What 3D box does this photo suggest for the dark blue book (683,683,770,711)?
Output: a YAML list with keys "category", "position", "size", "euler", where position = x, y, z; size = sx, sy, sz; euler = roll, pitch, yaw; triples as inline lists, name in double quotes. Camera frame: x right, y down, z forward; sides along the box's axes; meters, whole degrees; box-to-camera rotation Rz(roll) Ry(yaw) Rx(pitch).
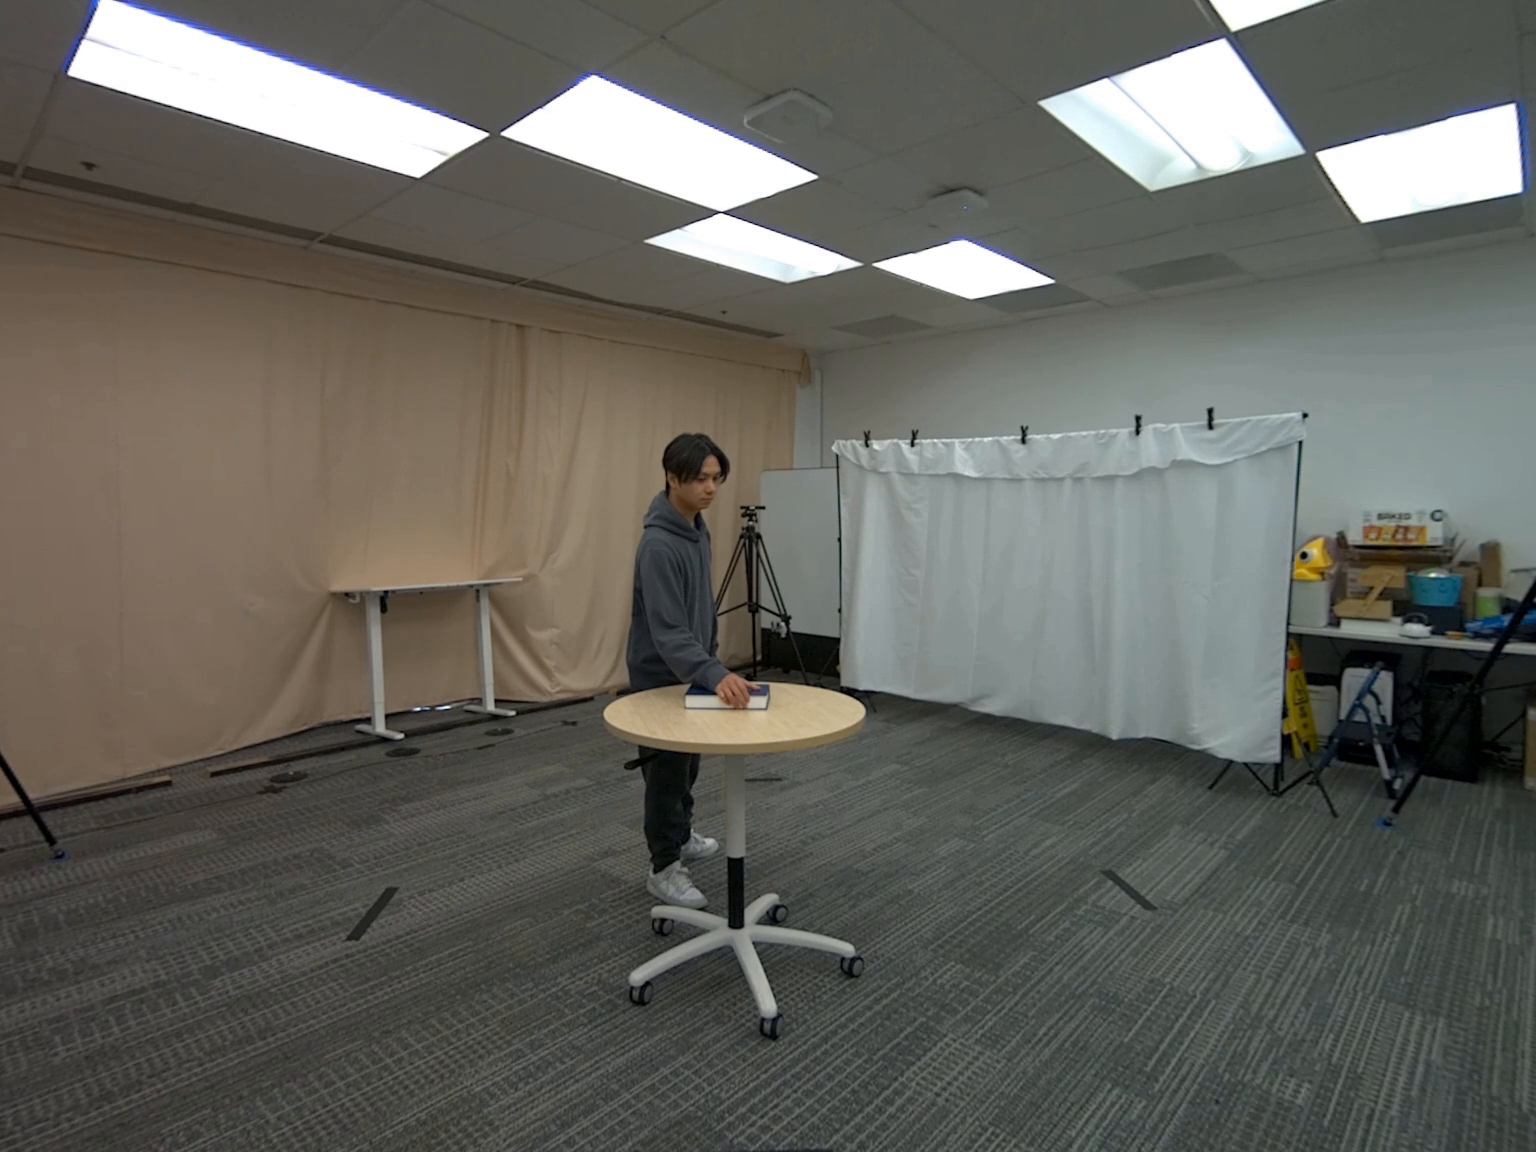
- category: "dark blue book"
  position: [-0.117, 0.364, 2.549]
  size: [0.247, 0.045, 0.163]
  euler: [0, 5, 6]
